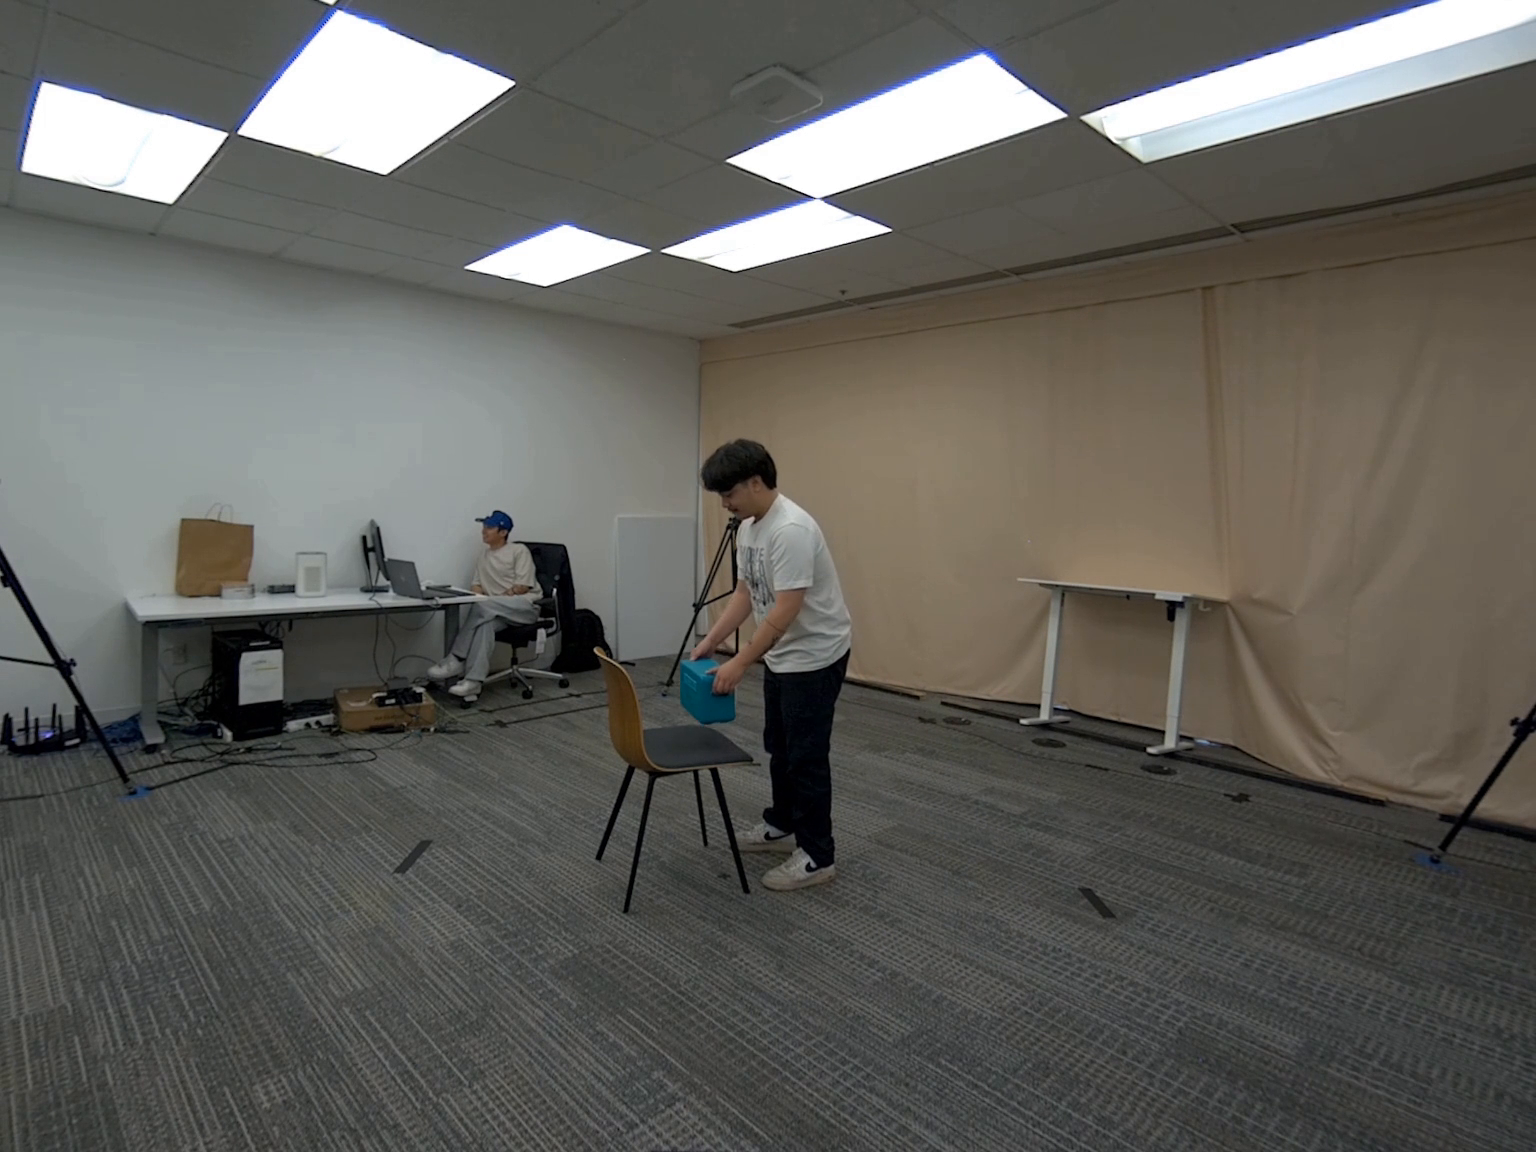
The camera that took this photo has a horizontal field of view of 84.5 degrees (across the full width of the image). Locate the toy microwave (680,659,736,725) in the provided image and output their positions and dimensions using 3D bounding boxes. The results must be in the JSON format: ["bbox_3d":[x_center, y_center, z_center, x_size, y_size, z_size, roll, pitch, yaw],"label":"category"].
[{"bbox_3d":[-0.211,0.424,3.102,0.150,0.183,0.291,-2,6,-21],"label":"toy microwave"}]
